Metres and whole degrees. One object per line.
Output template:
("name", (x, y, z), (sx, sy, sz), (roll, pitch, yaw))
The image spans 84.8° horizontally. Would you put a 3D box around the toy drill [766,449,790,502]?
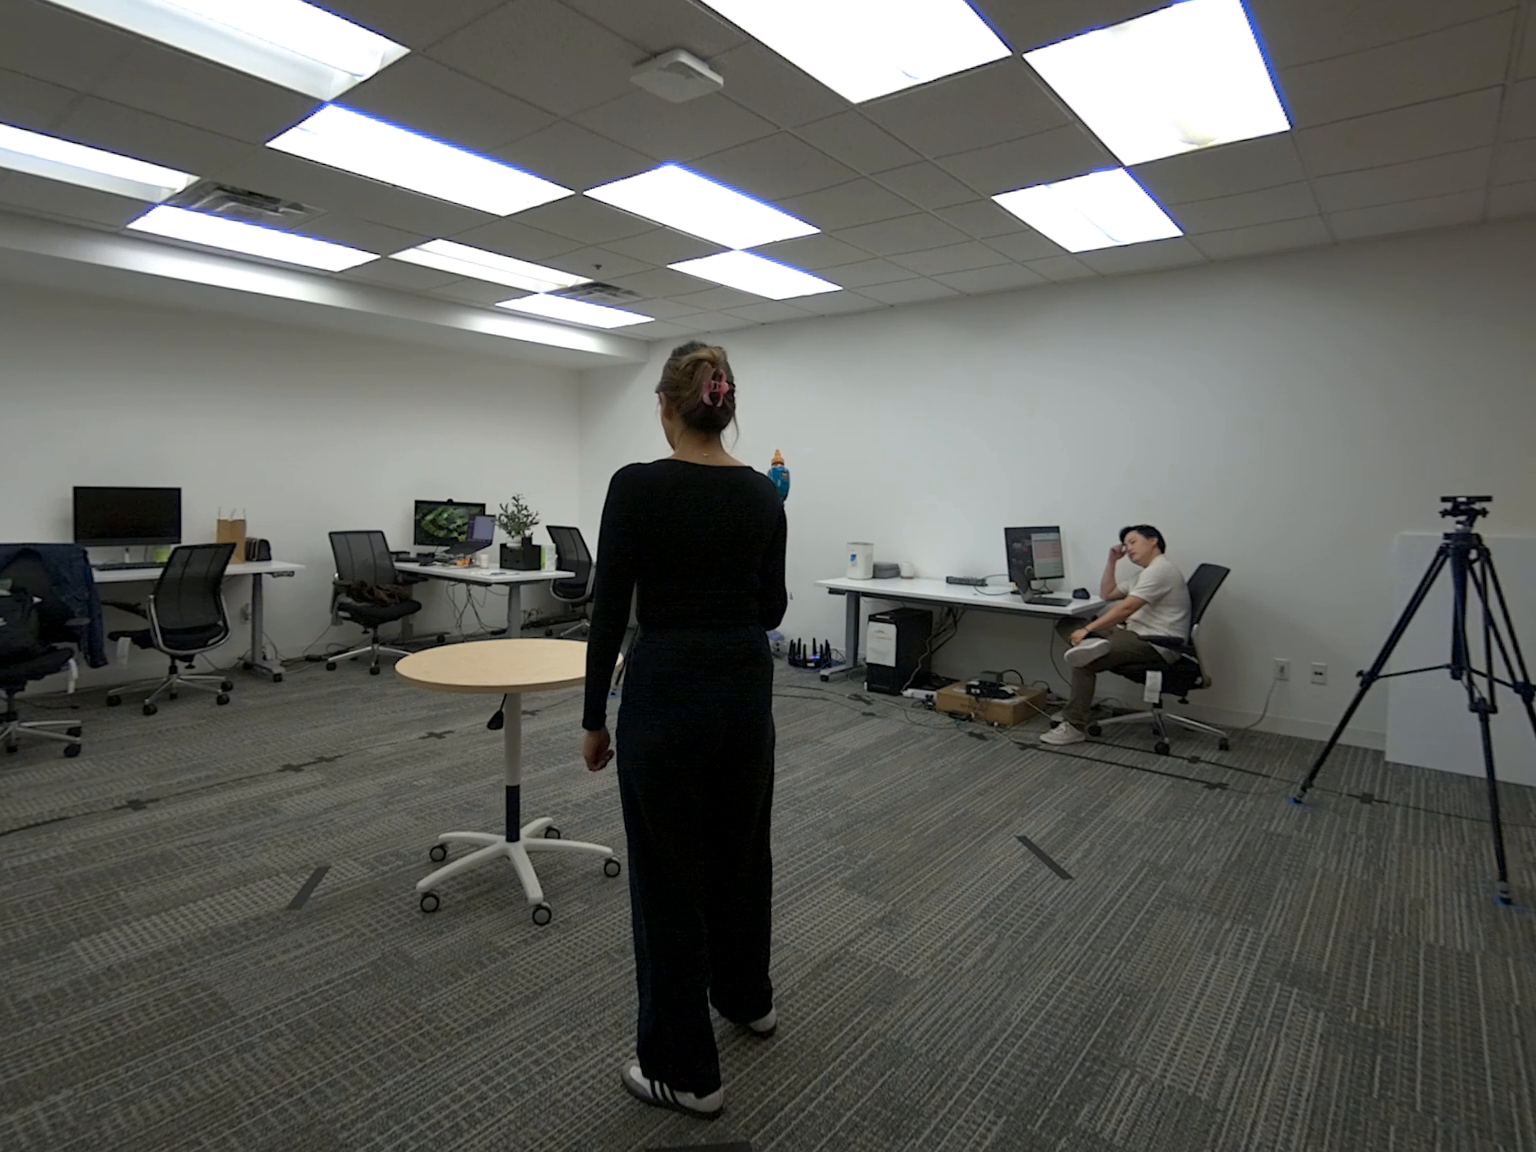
("toy drill", (0.002, -0.244, 2.221), (0.059, 0.174, 0.146), (11, -33, -25))
